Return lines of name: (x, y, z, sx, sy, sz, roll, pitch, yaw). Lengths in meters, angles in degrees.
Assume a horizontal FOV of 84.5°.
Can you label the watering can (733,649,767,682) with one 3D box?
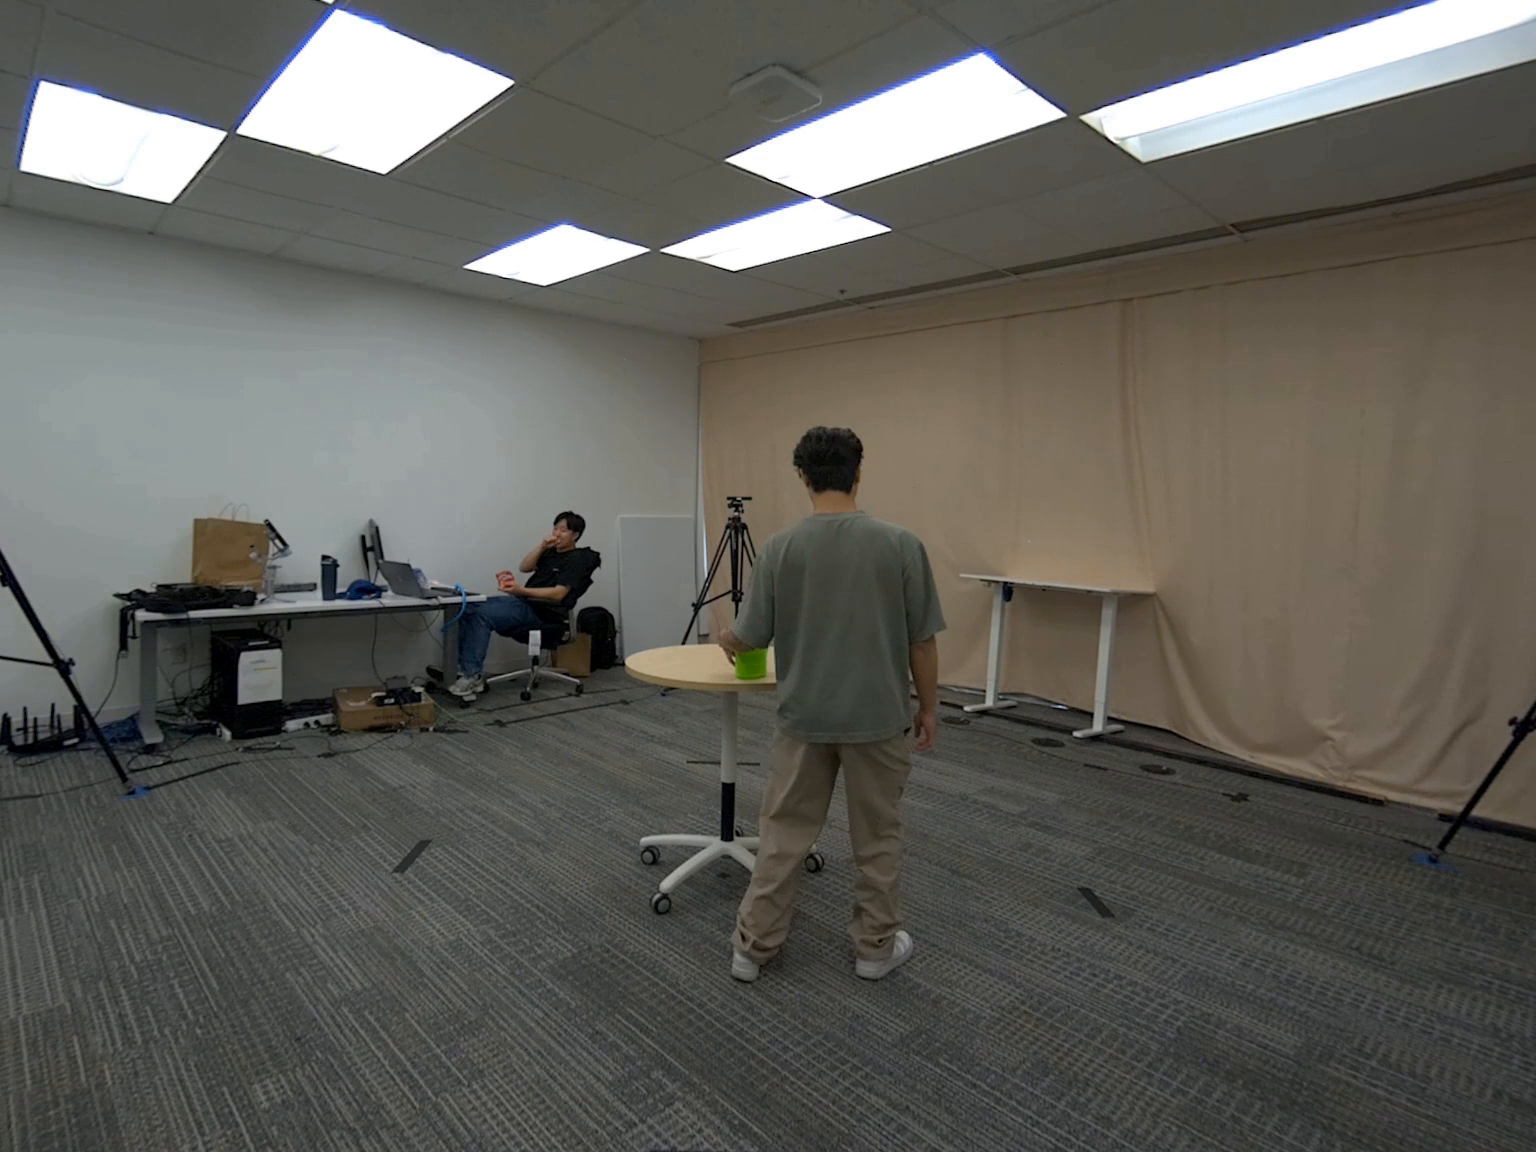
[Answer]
watering can: (-0.029, 0.248, 2.831, 0.100, 0.176, 0.272, 5, 8, 41)
